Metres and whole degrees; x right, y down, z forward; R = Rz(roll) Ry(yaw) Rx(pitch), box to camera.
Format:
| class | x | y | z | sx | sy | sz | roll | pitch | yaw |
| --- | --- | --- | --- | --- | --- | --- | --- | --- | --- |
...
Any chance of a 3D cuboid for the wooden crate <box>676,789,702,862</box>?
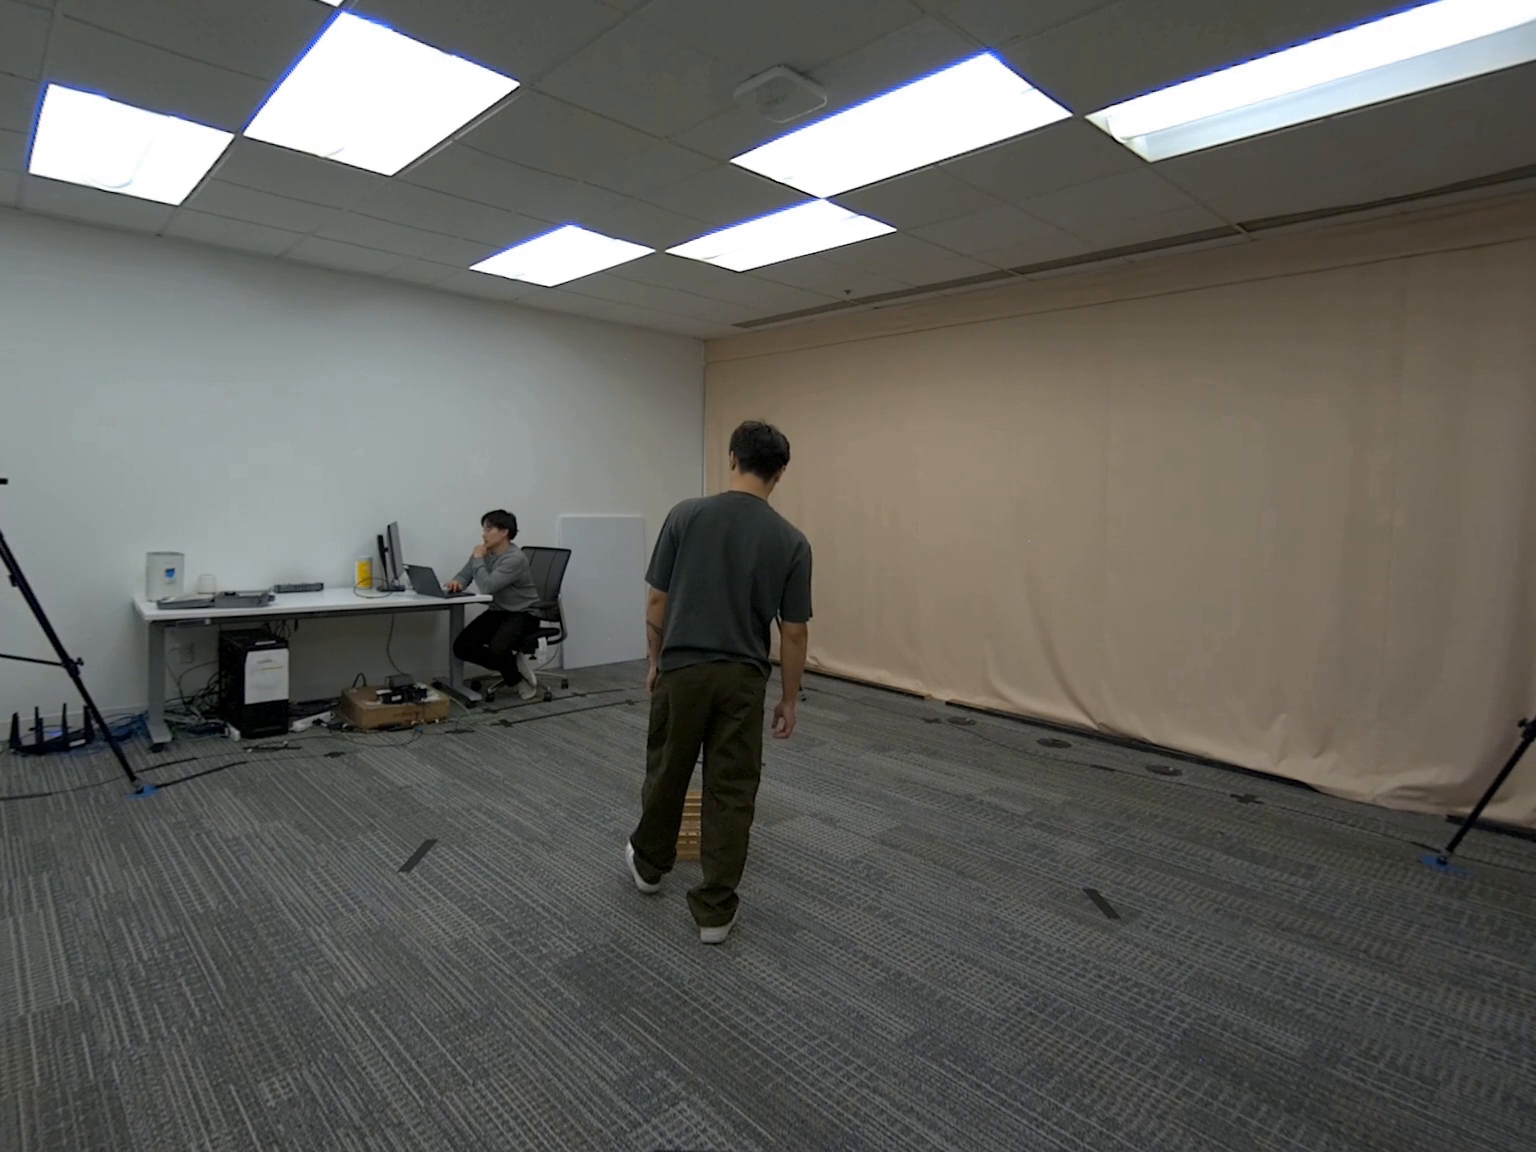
| class | x | y | z | sx | sy | sz | roll | pitch | yaw |
| --- | --- | --- | --- | --- | --- | --- | --- | --- | --- |
| wooden crate | -0.298 | 0.952 | 3.333 | 0.323 | 0.272 | 0.304 | 1 | 4 | -6 |
